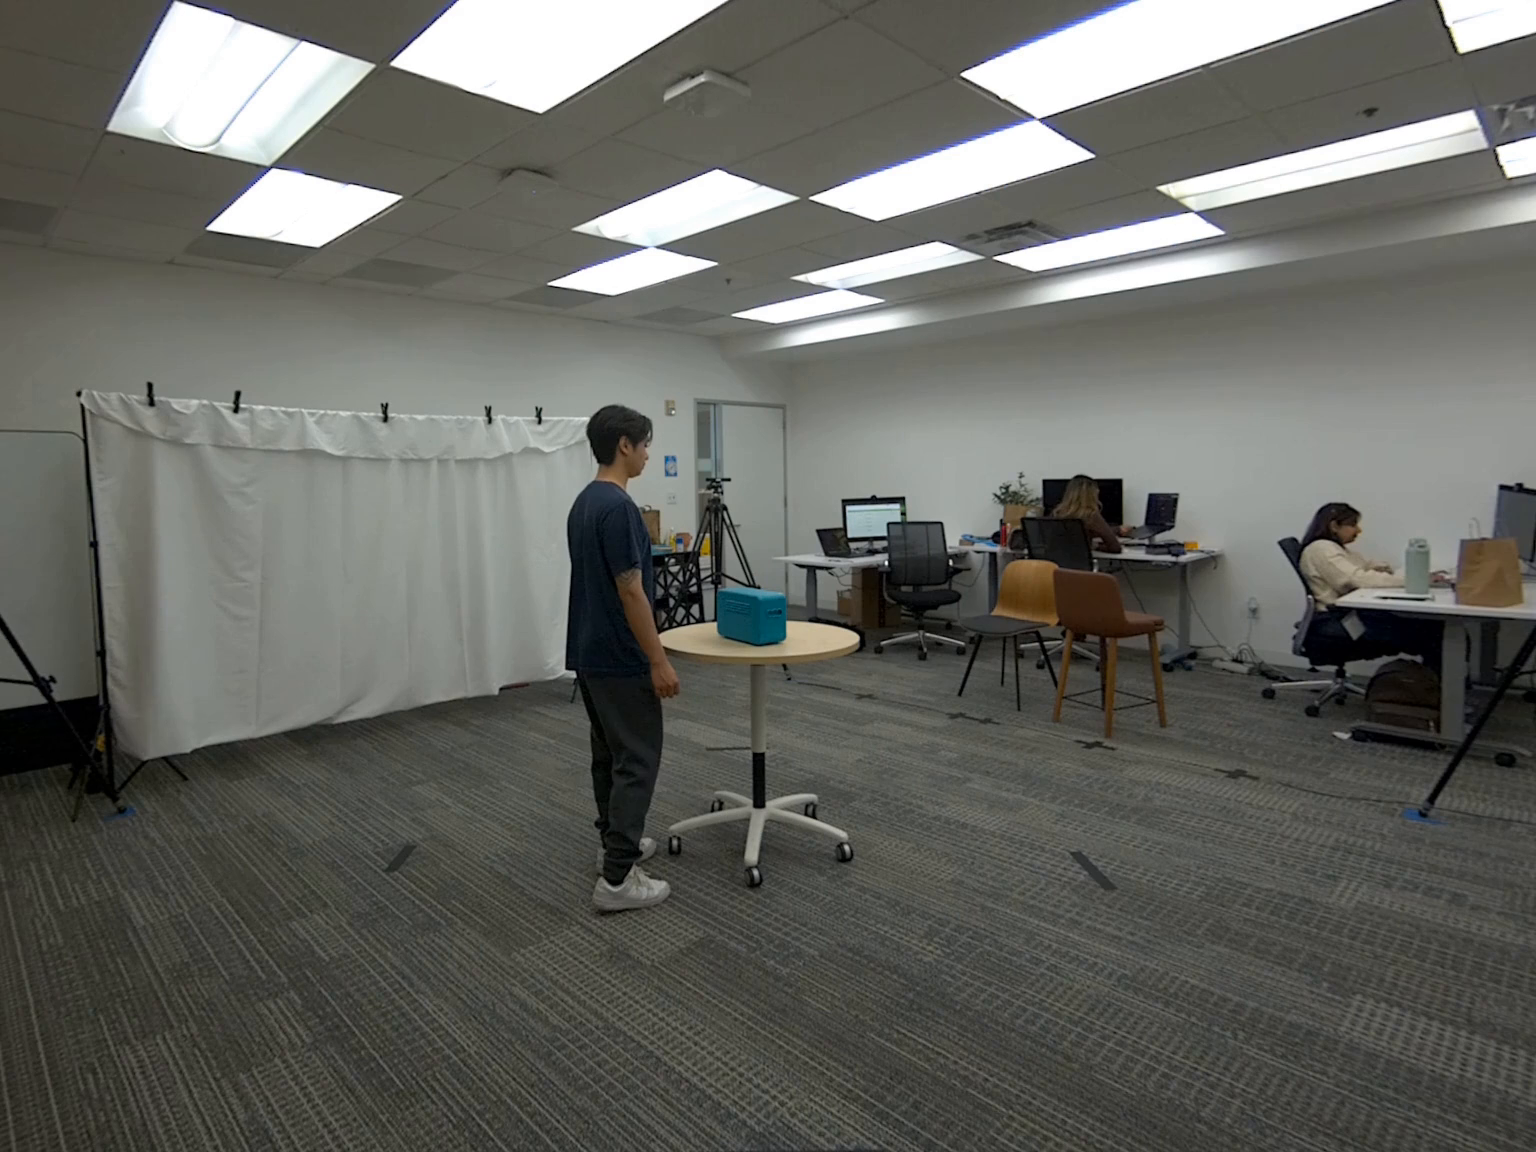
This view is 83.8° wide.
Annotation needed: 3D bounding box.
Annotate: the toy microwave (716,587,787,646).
[{"bbox_3d":[-0.057,0.144,3.159,0.148,0.183,0.294,-3,5,-35],"label":"toy microwave"}]
